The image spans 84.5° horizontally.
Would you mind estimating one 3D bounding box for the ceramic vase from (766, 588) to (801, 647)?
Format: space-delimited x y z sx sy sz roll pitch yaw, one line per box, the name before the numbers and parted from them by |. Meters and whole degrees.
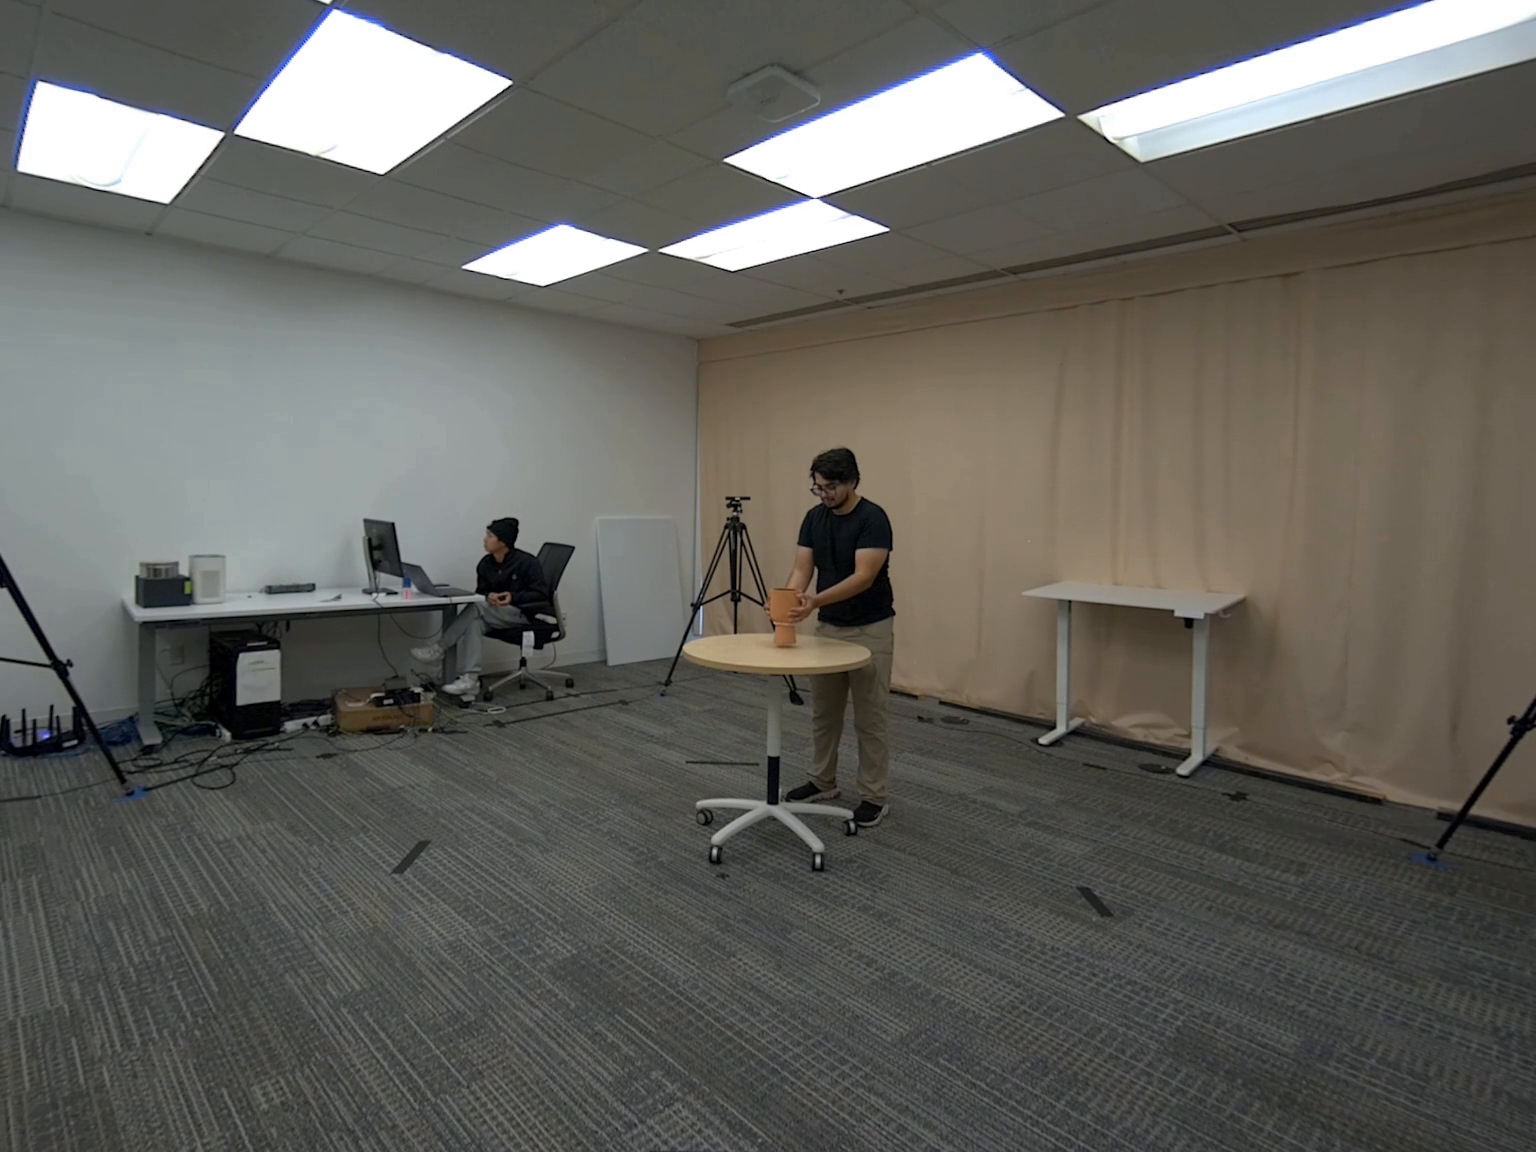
ceramic vase | 0.064 0.170 3.494 0.133 0.220 0.160 3 0 -15
